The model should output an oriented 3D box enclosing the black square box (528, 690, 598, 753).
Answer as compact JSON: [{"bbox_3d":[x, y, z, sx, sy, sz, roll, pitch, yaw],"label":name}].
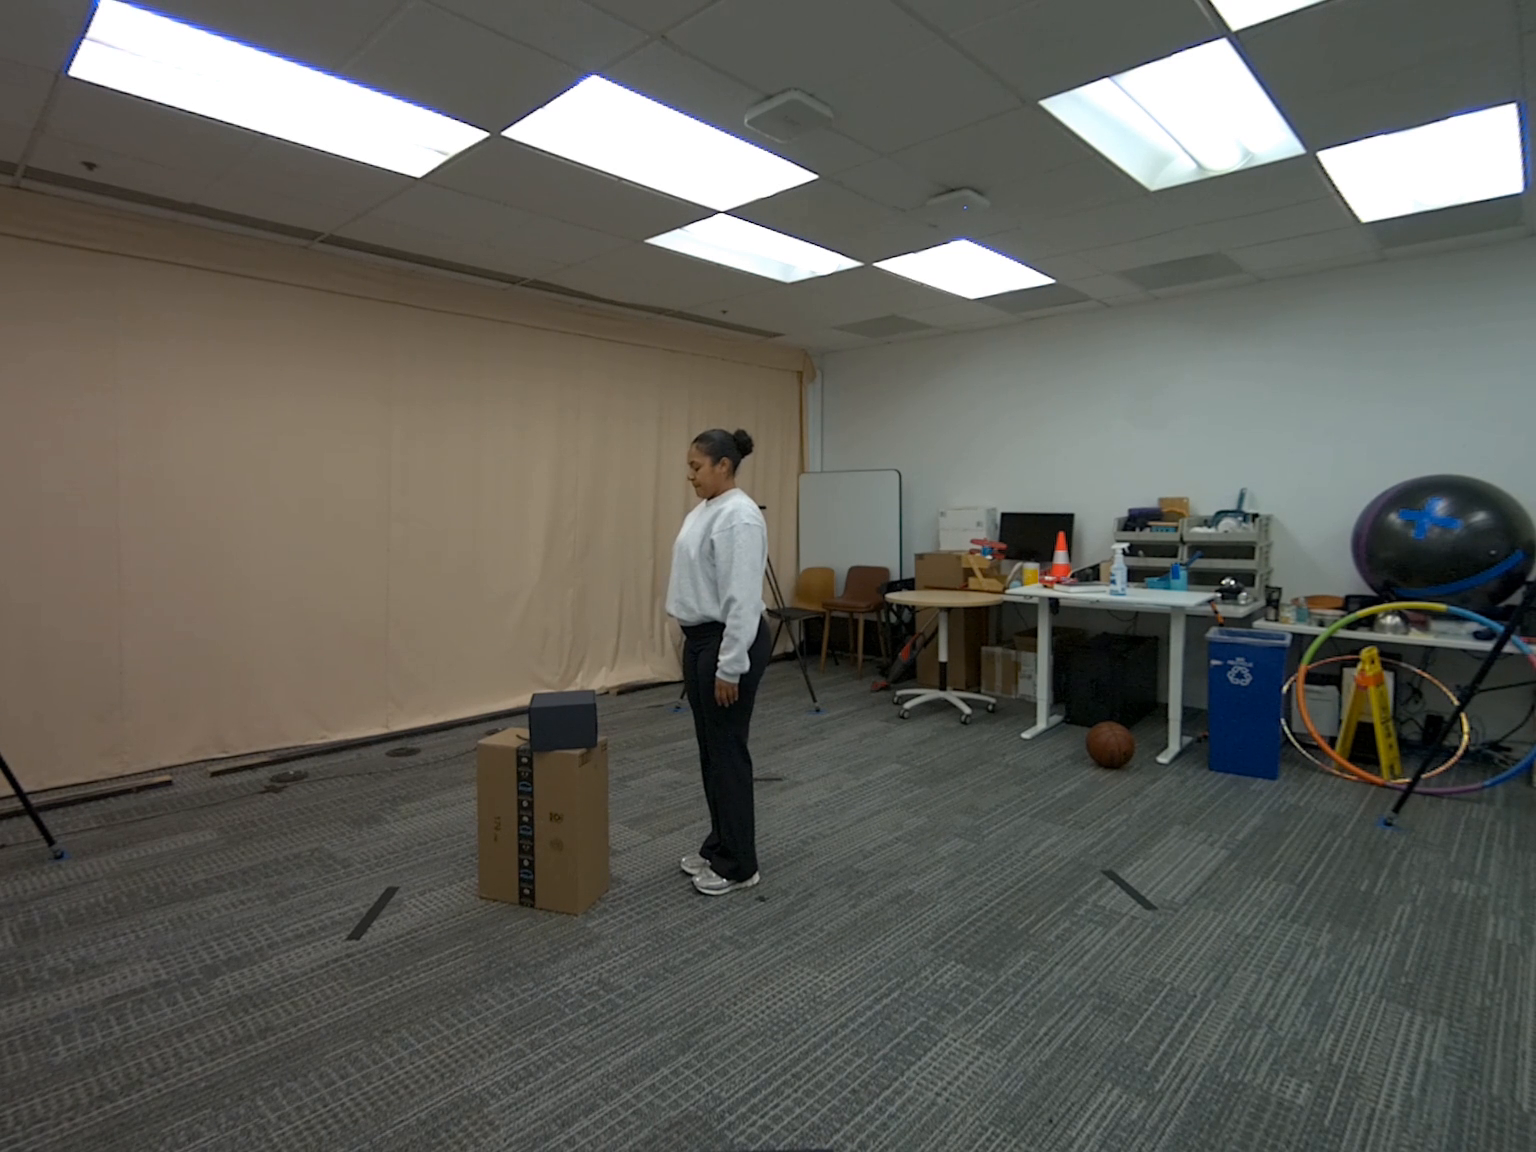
[{"bbox_3d":[-0.721,0.506,2.978,0.225,0.155,0.220,-3,5,-11],"label":"black square box"}]
